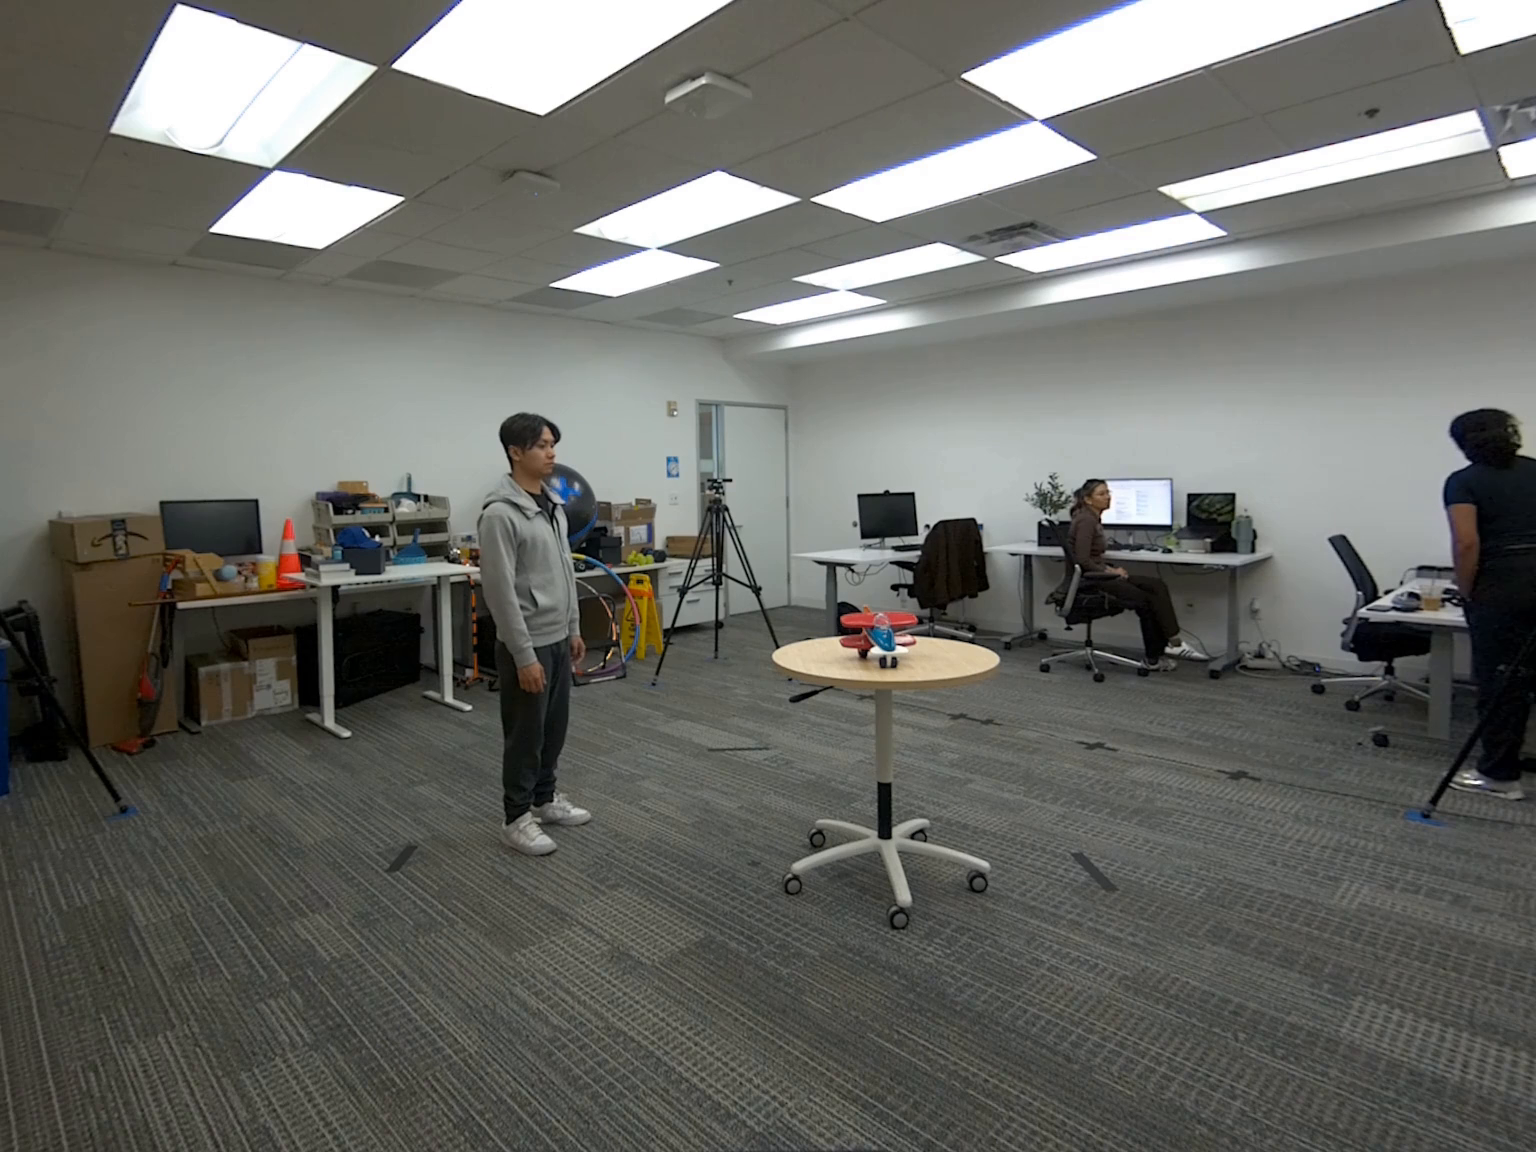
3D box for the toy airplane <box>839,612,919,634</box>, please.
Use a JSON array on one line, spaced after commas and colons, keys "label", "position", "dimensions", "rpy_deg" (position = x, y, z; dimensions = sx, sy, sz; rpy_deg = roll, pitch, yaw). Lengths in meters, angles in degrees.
[{"label": "toy airplane", "position": [0.394, 0.210, 2.827], "dimensions": [0.245, 0.156, 0.266], "rpy_deg": [-5, 6, -29]}]
